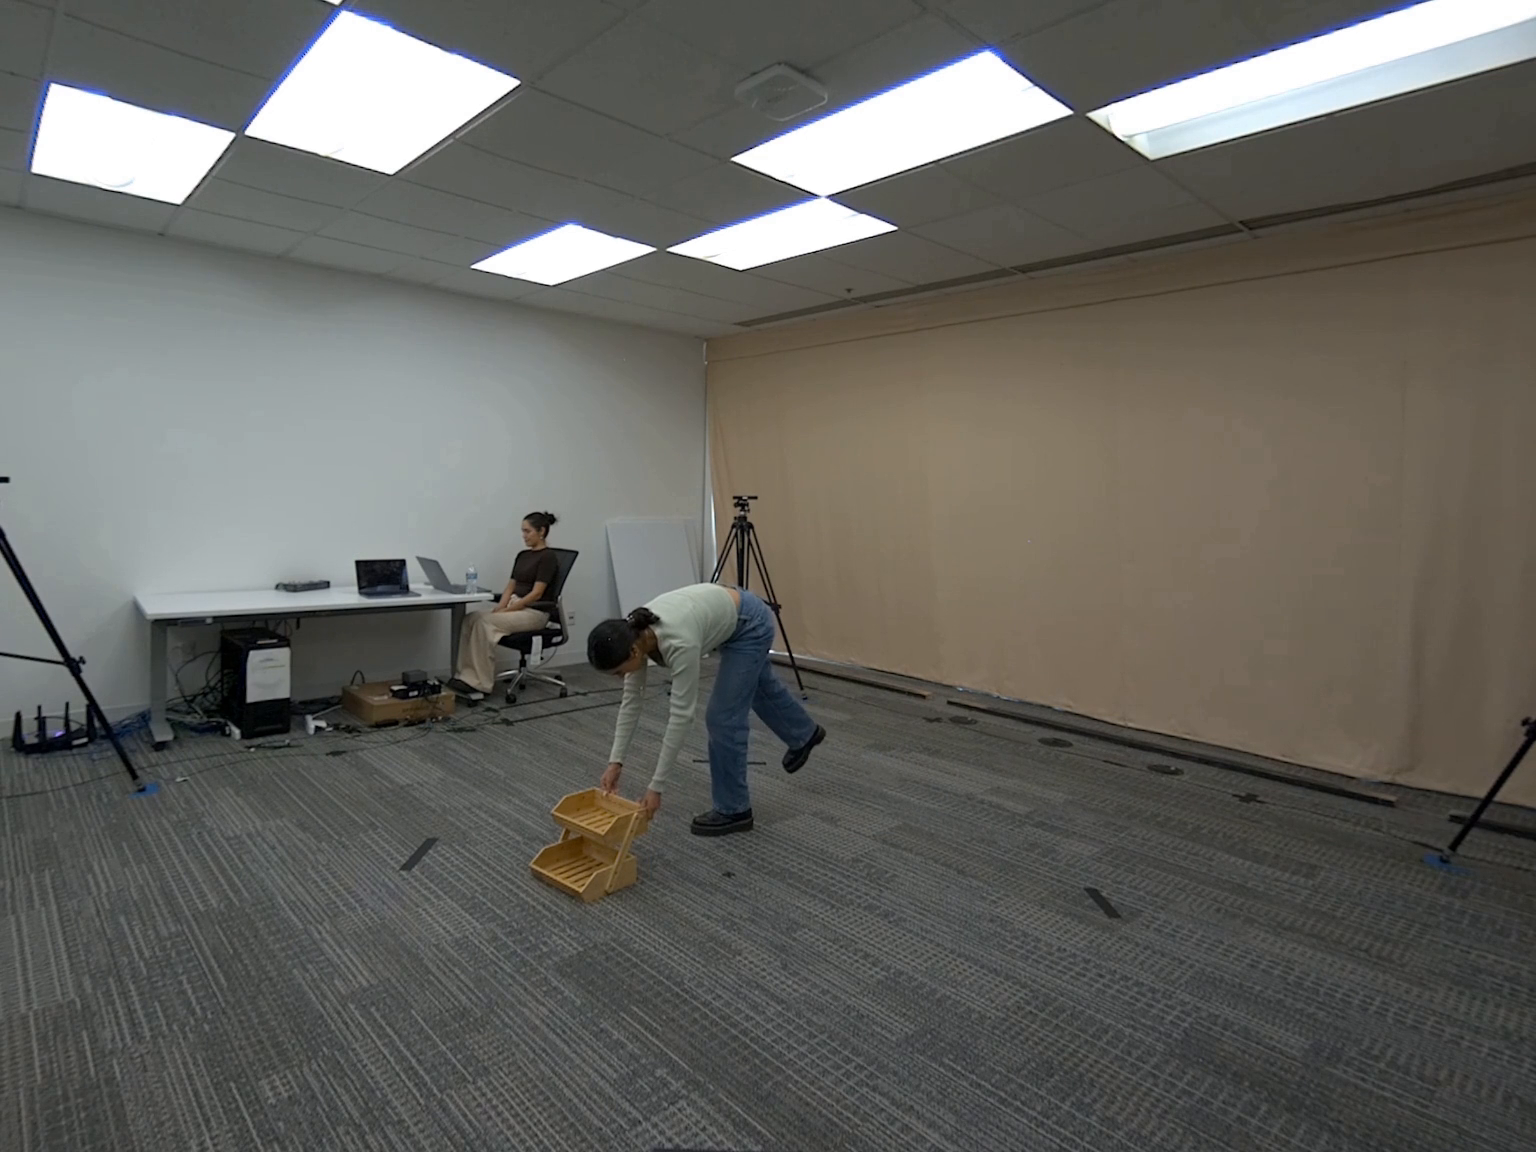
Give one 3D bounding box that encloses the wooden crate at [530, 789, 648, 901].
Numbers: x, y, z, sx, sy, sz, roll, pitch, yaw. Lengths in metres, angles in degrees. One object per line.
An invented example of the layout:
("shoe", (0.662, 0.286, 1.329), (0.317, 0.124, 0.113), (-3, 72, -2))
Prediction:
("wooden crate", (-0.658, 0.964, 3.047), (0.333, 0.273, 0.295), (5, 5, 40))
